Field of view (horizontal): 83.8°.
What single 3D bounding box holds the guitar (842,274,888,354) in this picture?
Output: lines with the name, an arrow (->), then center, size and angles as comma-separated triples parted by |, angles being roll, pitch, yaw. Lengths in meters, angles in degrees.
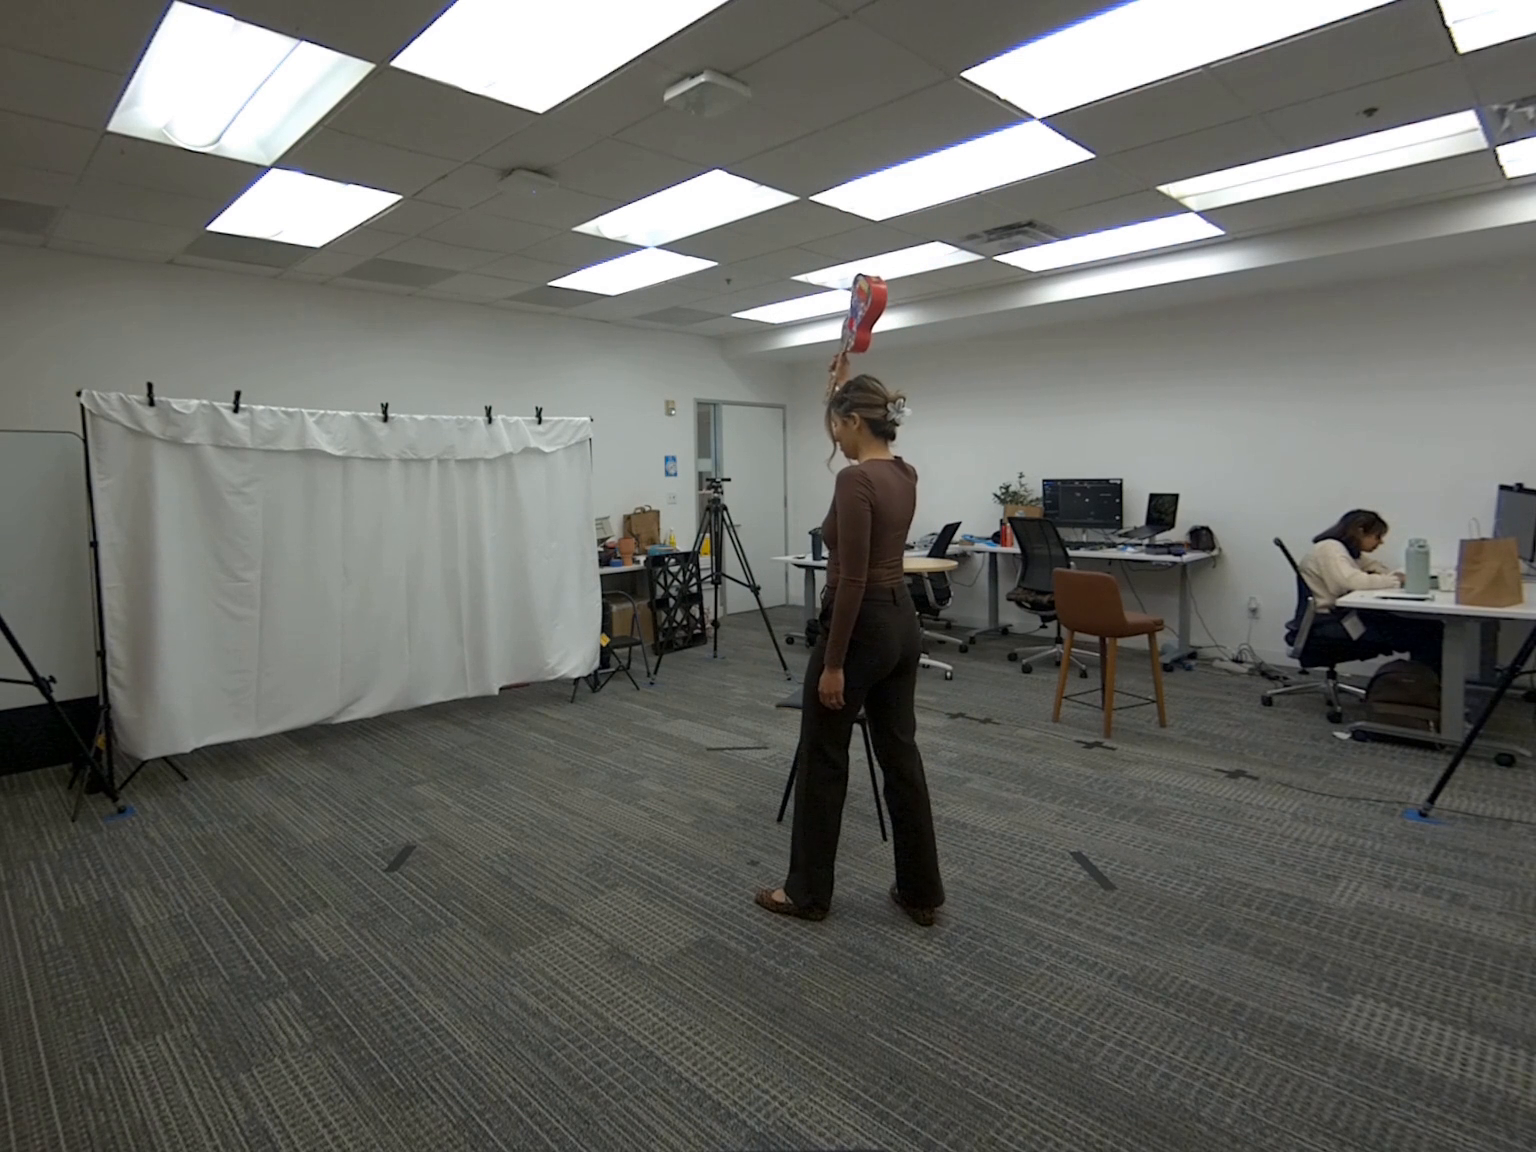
guitar -> 0.298, -0.854, 3.075 | 0.070, 0.199, 0.489 | 4, -43, -16
